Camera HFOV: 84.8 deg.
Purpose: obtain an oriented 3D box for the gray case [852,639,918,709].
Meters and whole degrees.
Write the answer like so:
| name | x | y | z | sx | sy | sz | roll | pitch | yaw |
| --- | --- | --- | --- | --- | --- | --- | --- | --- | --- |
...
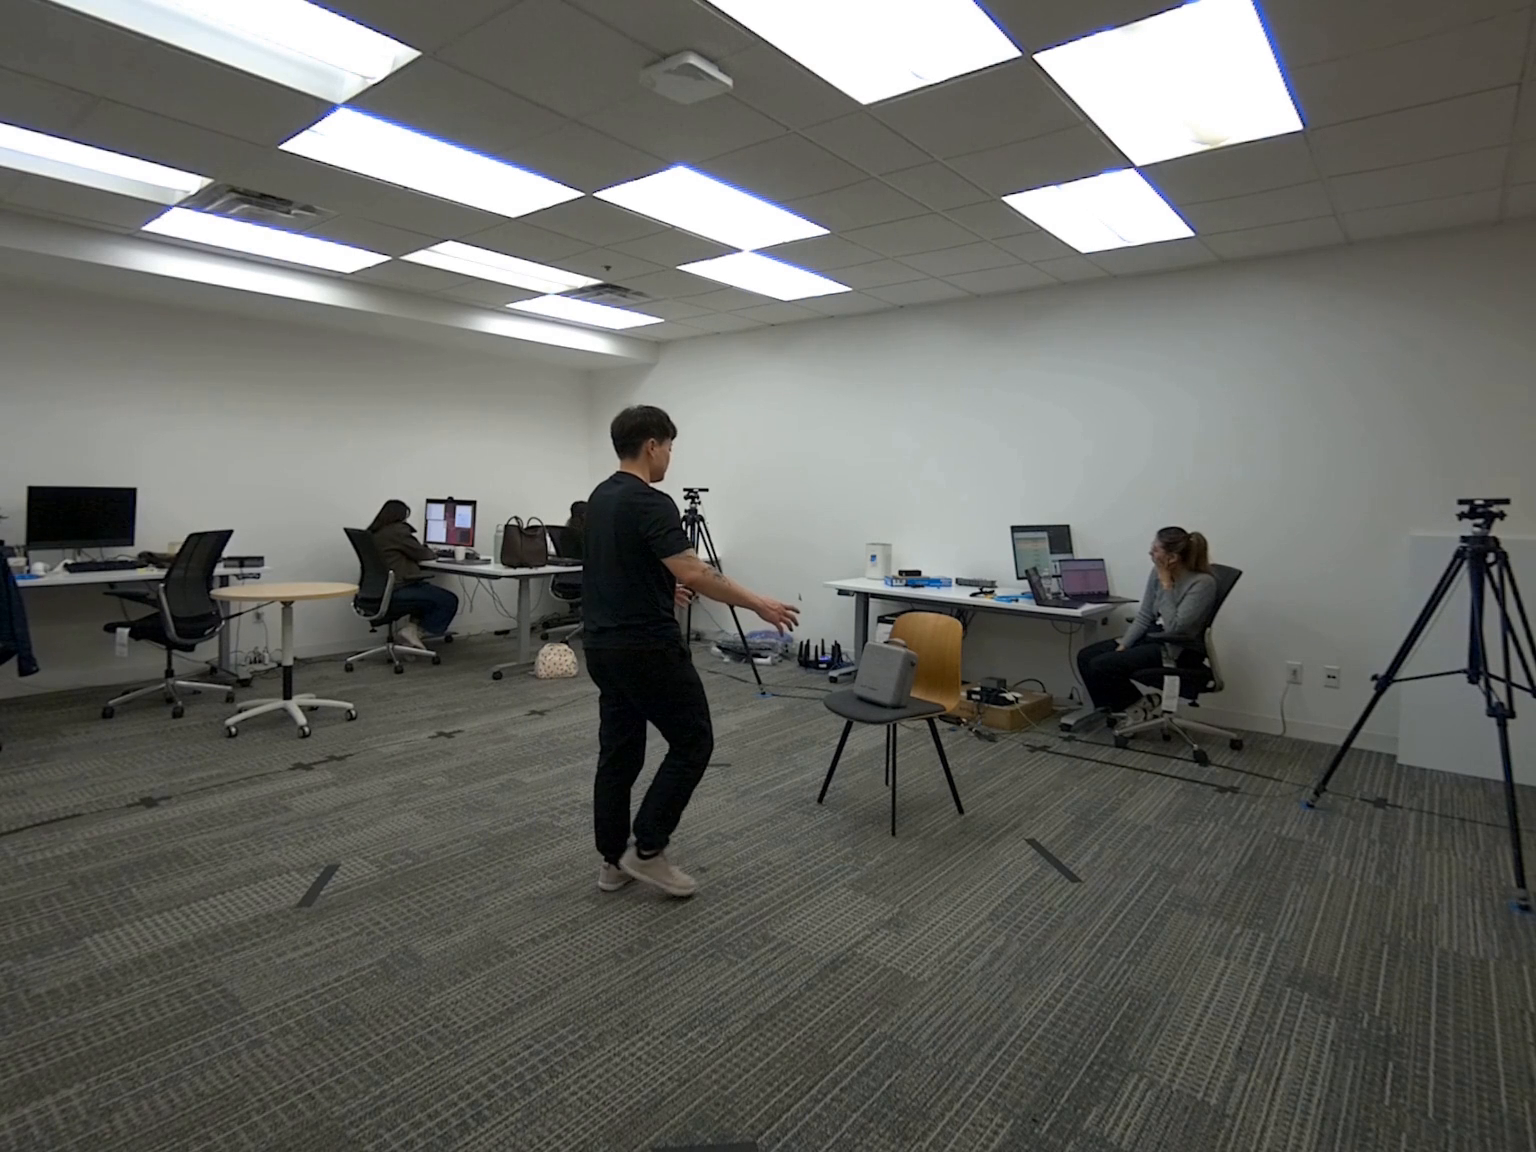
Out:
| name | x | y | z | sx | sy | sz | roll | pitch | yaw |
| --- | --- | --- | --- | --- | --- | --- | --- | --- | --- |
| gray case | 0.510 | 0.418 | 3.697 | 0.101 | 0.261 | 0.264 | 17 | -6 | -31 |
